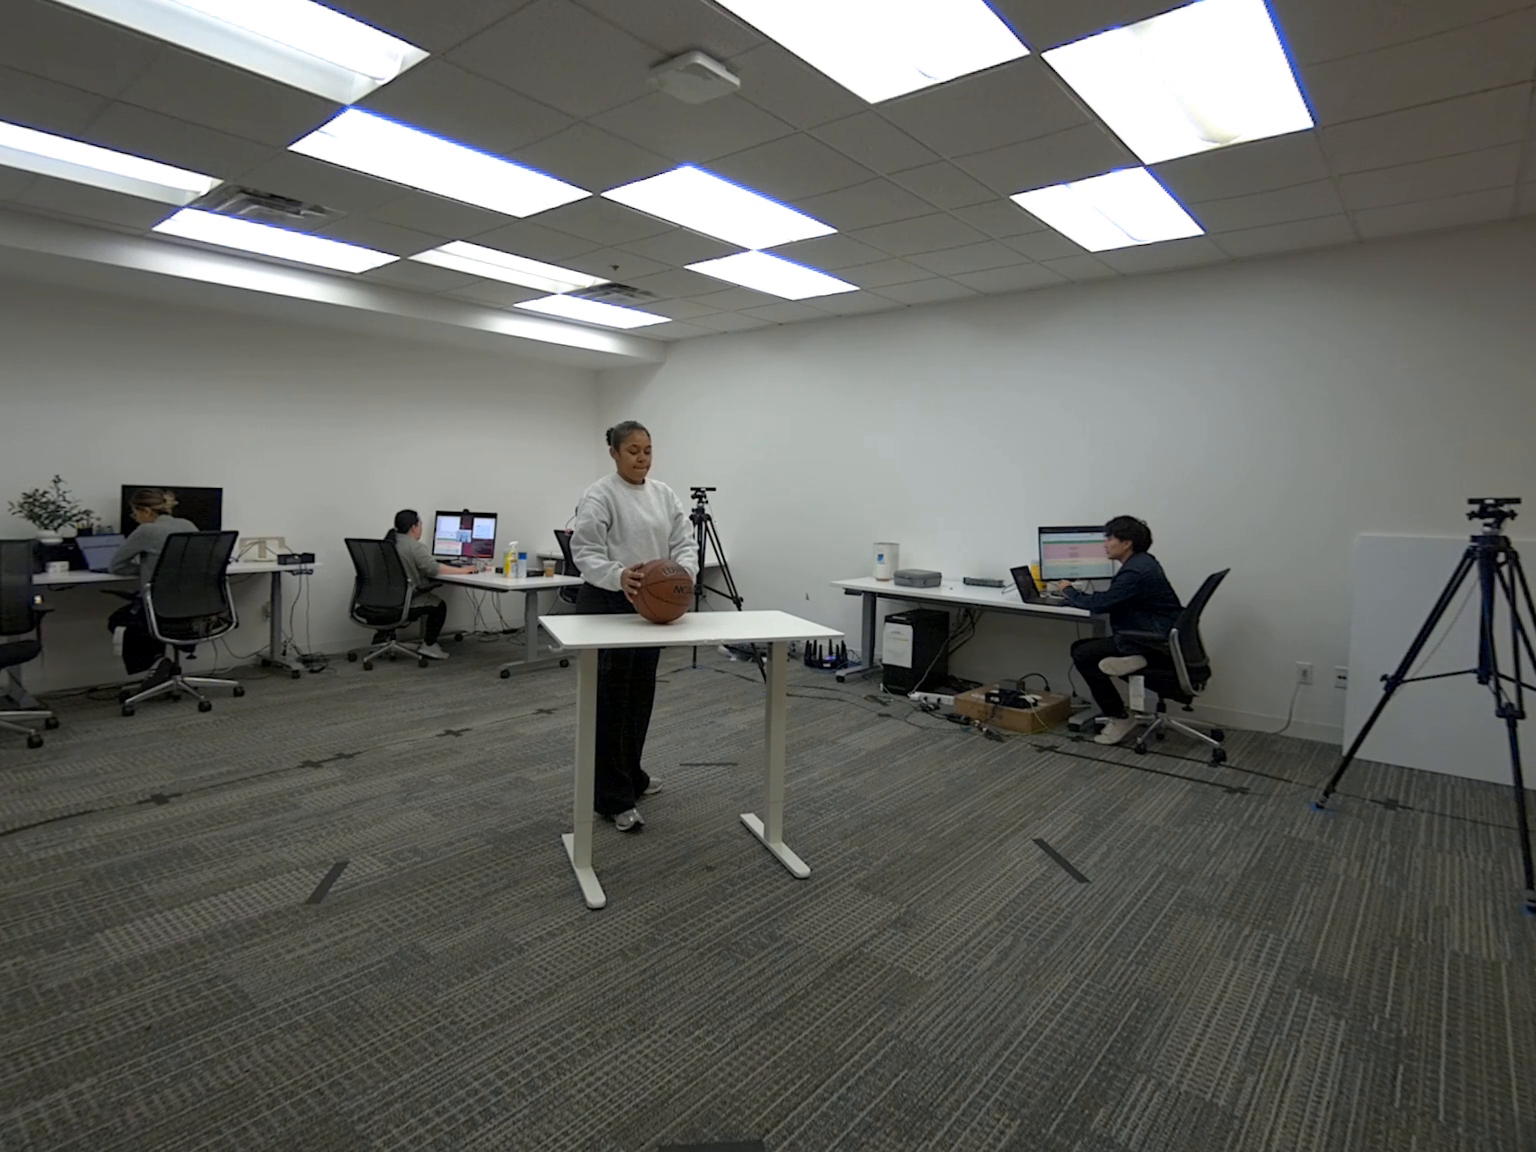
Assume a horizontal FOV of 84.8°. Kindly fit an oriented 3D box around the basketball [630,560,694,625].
[{"bbox_3d":[-0.417,0.051,3.182,0.235,0.235,0.237,1,4,-2],"label":"basketball"}]
